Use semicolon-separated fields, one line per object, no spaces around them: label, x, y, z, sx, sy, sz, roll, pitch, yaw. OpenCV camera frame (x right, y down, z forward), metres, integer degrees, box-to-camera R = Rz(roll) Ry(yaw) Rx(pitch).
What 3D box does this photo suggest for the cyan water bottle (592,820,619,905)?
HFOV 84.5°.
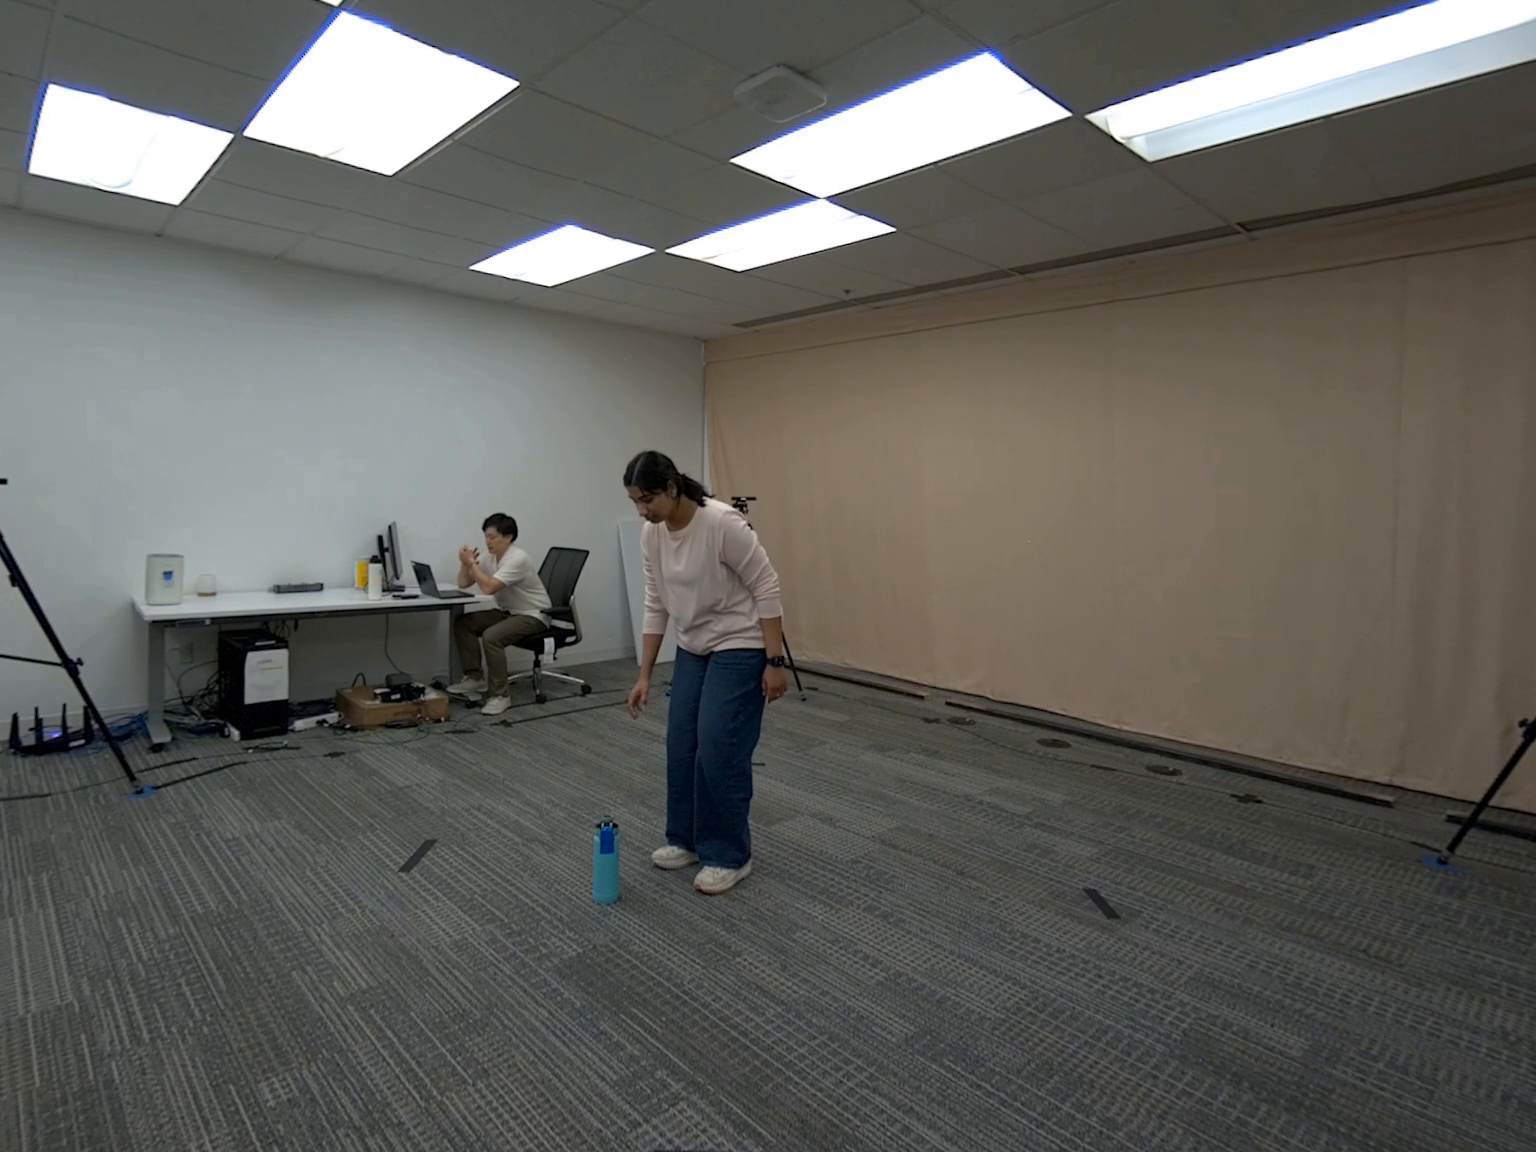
cyan water bottle;-0.565;0.977;2.895;0.092;0.282;0.093;2;5;-2
